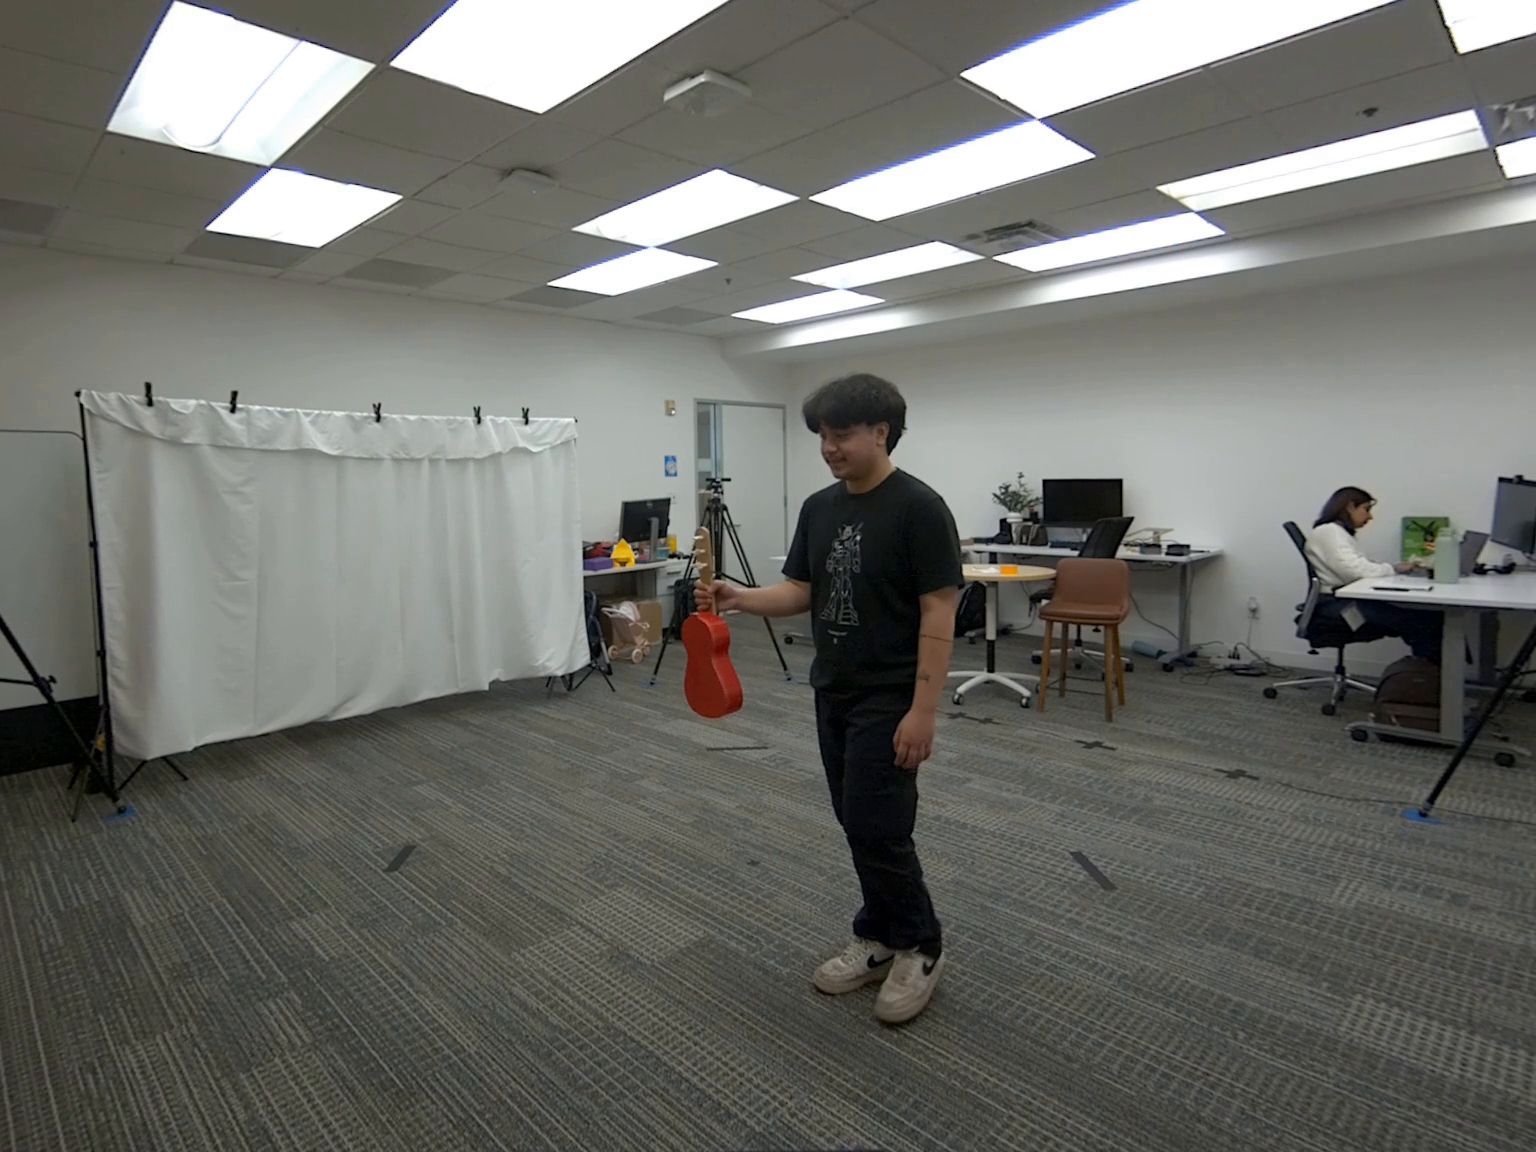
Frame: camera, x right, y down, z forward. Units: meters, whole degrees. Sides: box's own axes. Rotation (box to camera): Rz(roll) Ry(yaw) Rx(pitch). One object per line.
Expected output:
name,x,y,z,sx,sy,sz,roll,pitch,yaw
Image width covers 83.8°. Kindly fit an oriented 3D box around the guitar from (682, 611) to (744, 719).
guitar,-0.175,0.127,2.293,0.069,0.500,0.196,-7,-5,-35
